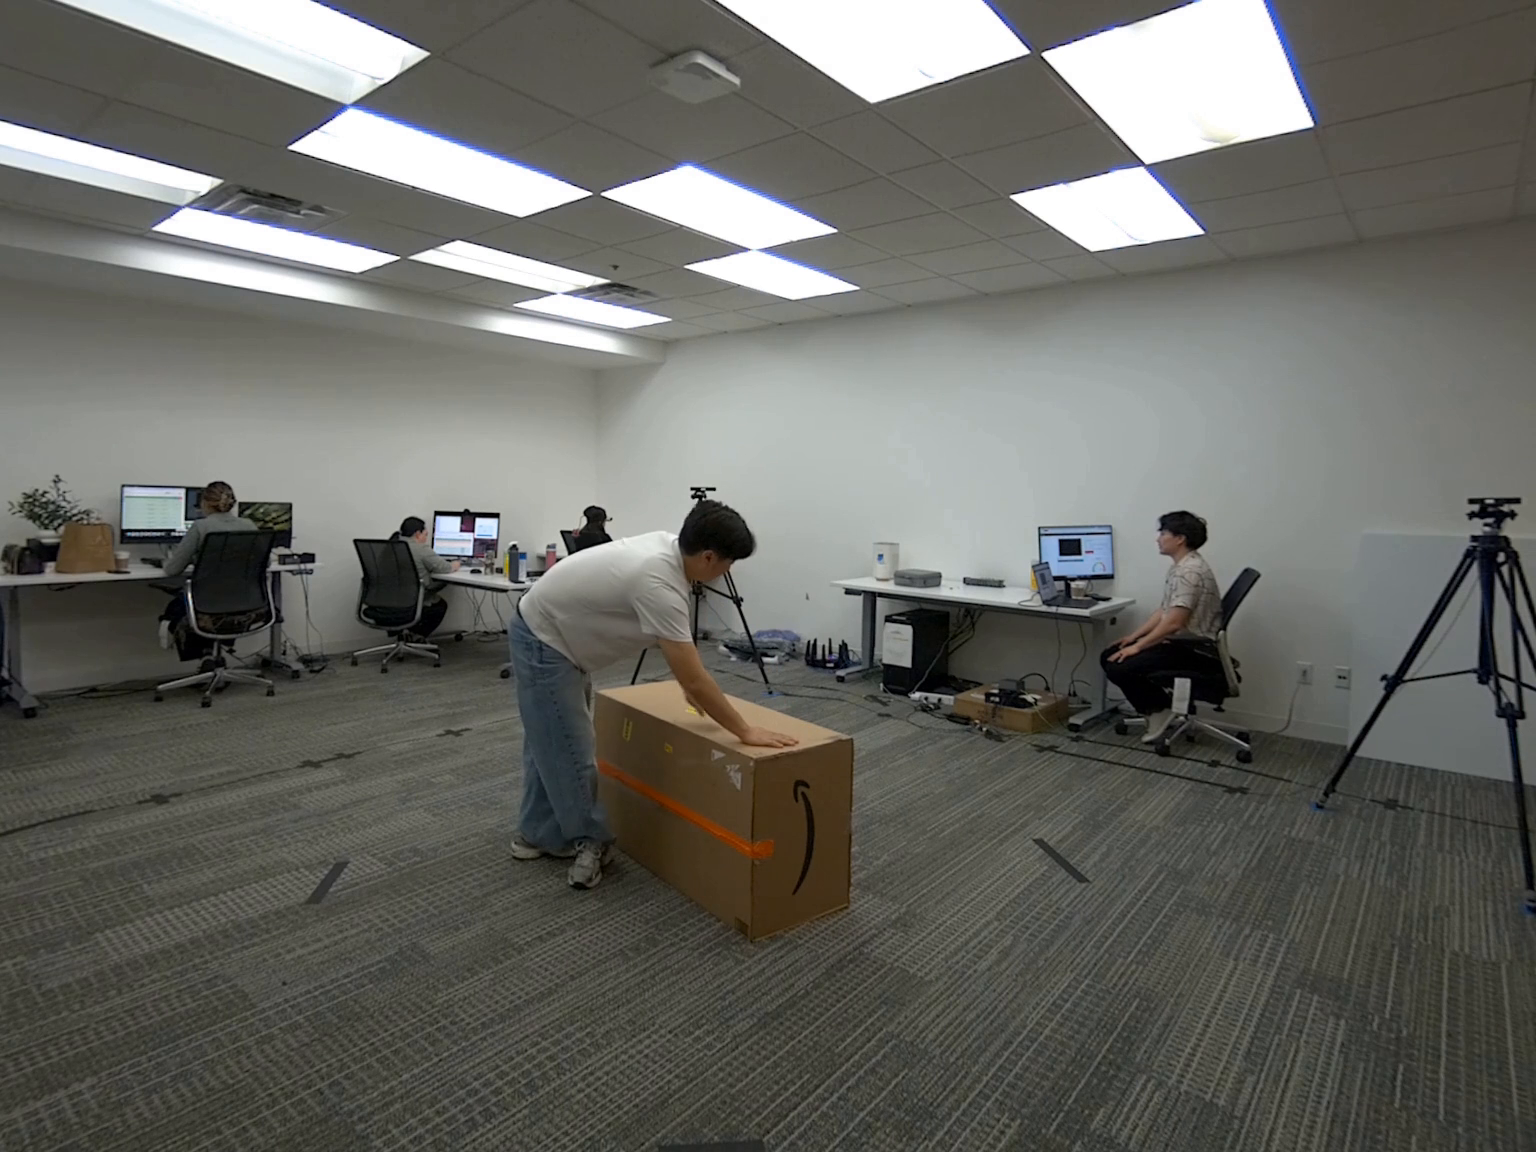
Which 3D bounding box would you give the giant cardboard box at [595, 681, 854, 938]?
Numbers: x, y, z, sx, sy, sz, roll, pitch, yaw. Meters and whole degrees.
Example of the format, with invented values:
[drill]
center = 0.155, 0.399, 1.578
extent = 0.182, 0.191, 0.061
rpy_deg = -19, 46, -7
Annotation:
[giant cardboard box]
center = -0.213, 0.781, 3.114
extent = 0.413, 0.576, 1.060
rpy_deg = -1, 5, -38
